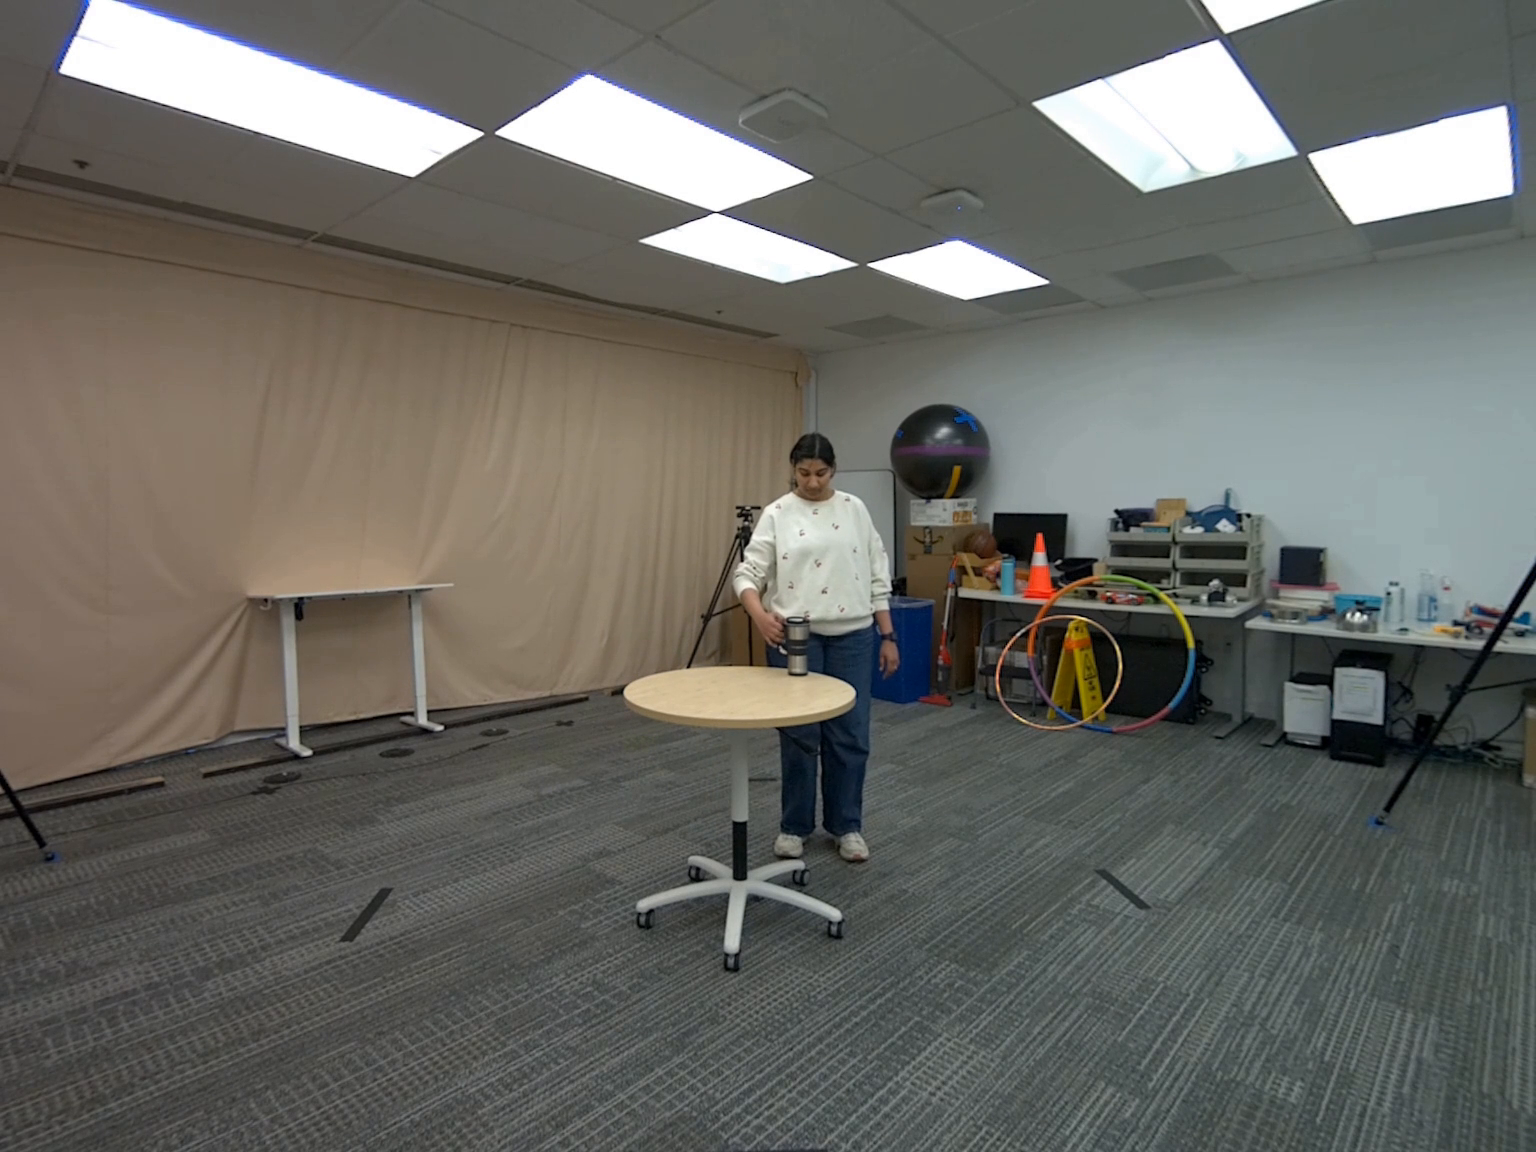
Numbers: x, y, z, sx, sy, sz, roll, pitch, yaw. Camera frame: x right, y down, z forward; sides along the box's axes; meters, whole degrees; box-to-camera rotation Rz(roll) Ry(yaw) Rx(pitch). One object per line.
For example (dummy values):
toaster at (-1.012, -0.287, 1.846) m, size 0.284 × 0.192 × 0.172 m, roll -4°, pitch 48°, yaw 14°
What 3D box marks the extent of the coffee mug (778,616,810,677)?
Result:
coffee mug at (0.099, 0.255, 3.044) m, size 0.086 × 0.202 × 0.125 m, roll -2°, pitch 7°, yaw -26°
